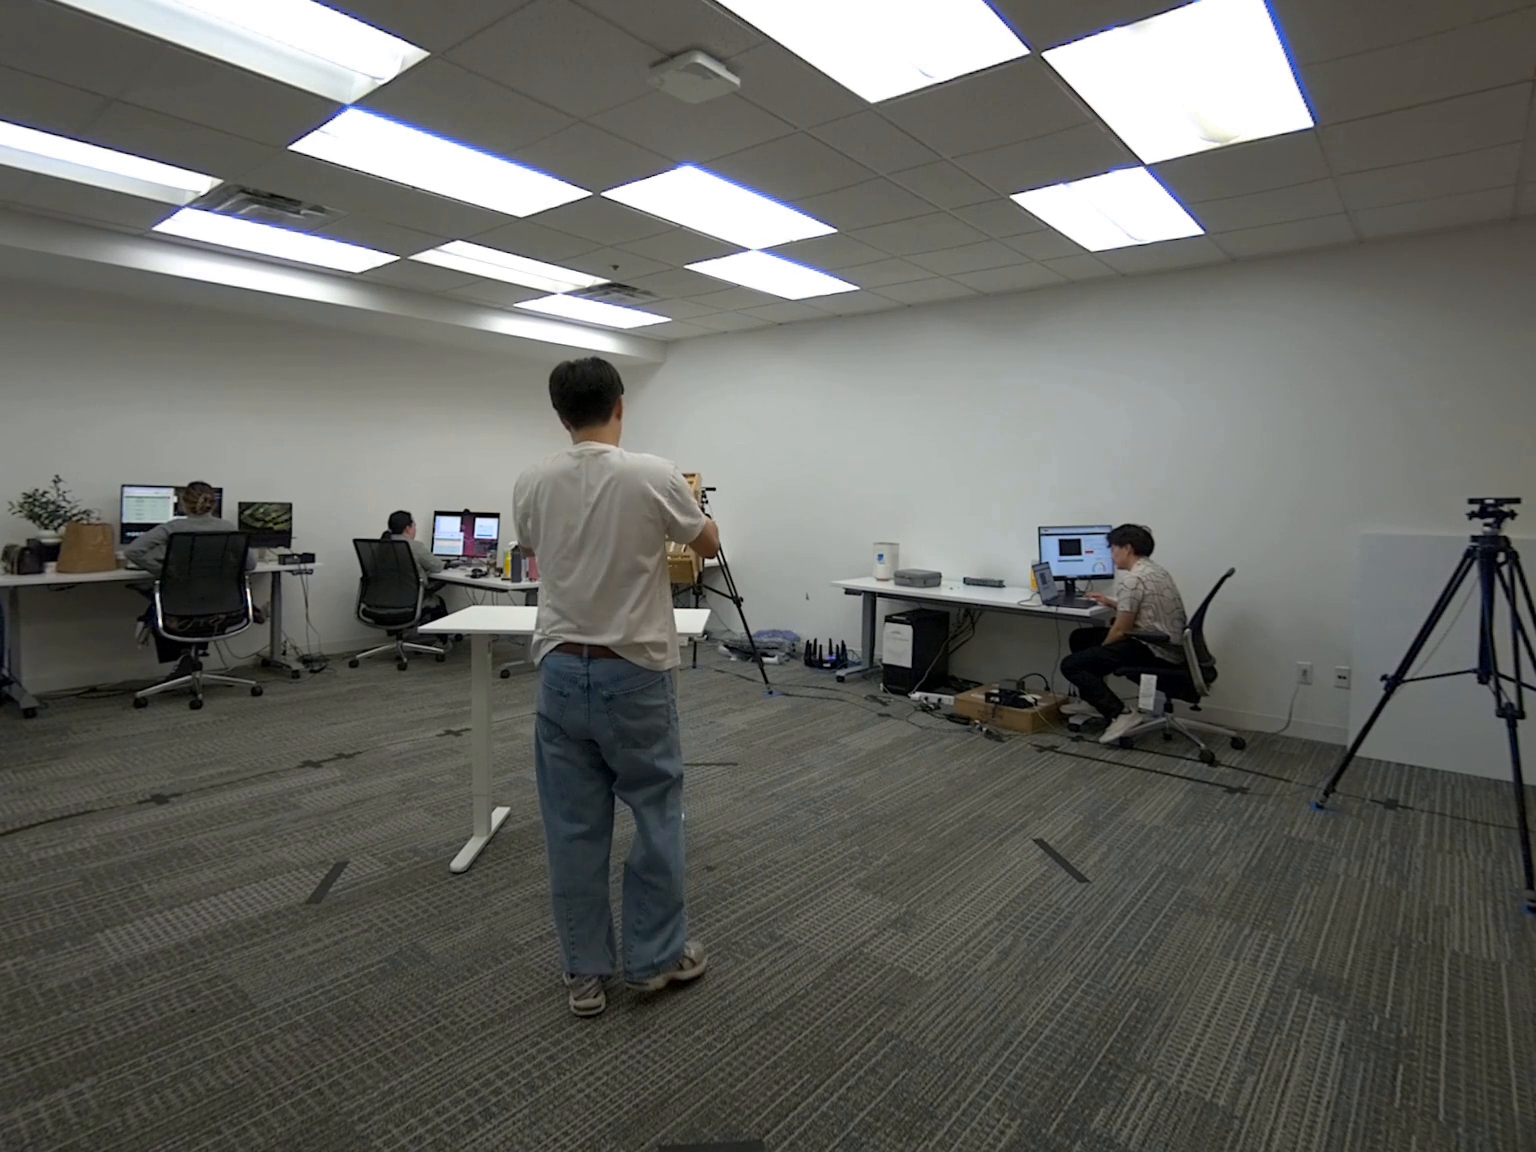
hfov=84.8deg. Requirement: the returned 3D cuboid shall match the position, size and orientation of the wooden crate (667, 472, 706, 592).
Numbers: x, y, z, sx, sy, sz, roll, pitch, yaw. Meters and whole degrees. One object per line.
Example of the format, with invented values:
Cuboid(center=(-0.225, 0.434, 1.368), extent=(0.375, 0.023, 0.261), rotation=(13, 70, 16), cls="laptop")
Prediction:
Cuboid(center=(-0.390, -0.153, 2.871), extent=(0.328, 0.265, 0.308), rotation=(0, 36, 8), cls="wooden crate")
